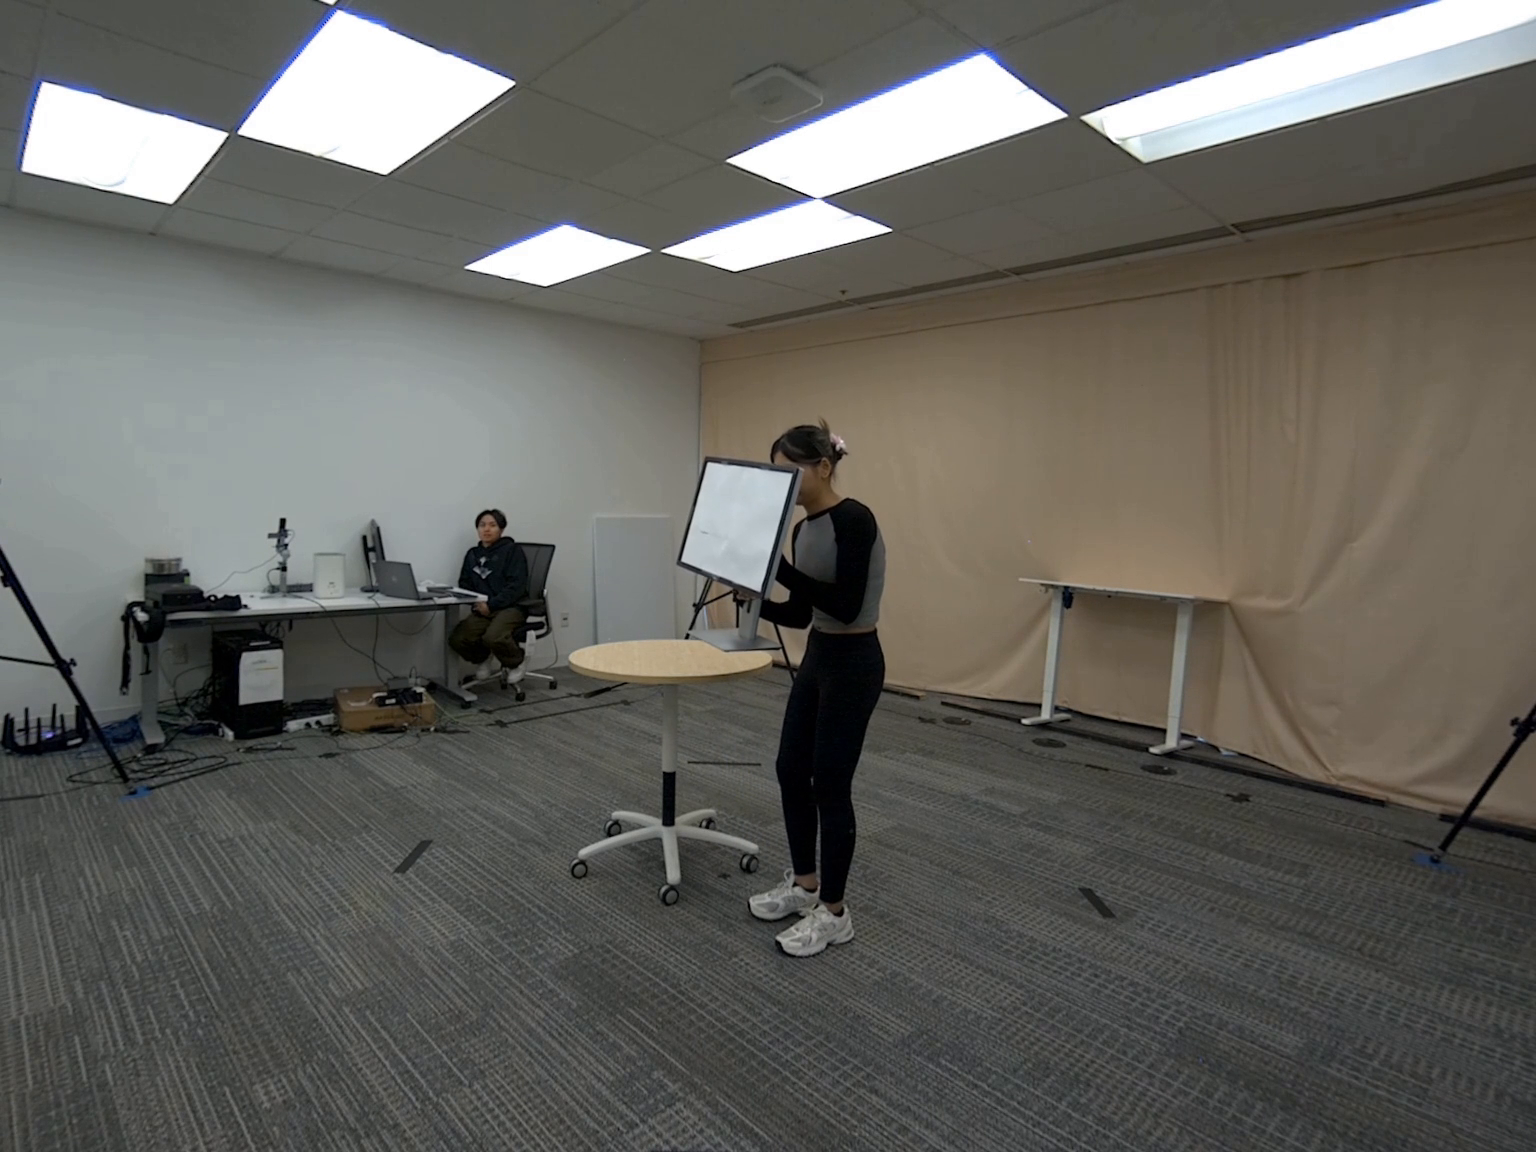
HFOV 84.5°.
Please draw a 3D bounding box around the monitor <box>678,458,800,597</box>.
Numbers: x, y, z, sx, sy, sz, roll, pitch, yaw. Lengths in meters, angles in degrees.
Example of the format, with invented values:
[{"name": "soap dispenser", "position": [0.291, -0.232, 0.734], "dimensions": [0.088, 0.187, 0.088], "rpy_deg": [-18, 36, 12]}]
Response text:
[{"name": "monitor", "position": [-0.085, -0.066, 2.497], "dimensions": [0.183, 0.520, 0.553], "rpy_deg": [1, 8, -32]}]
